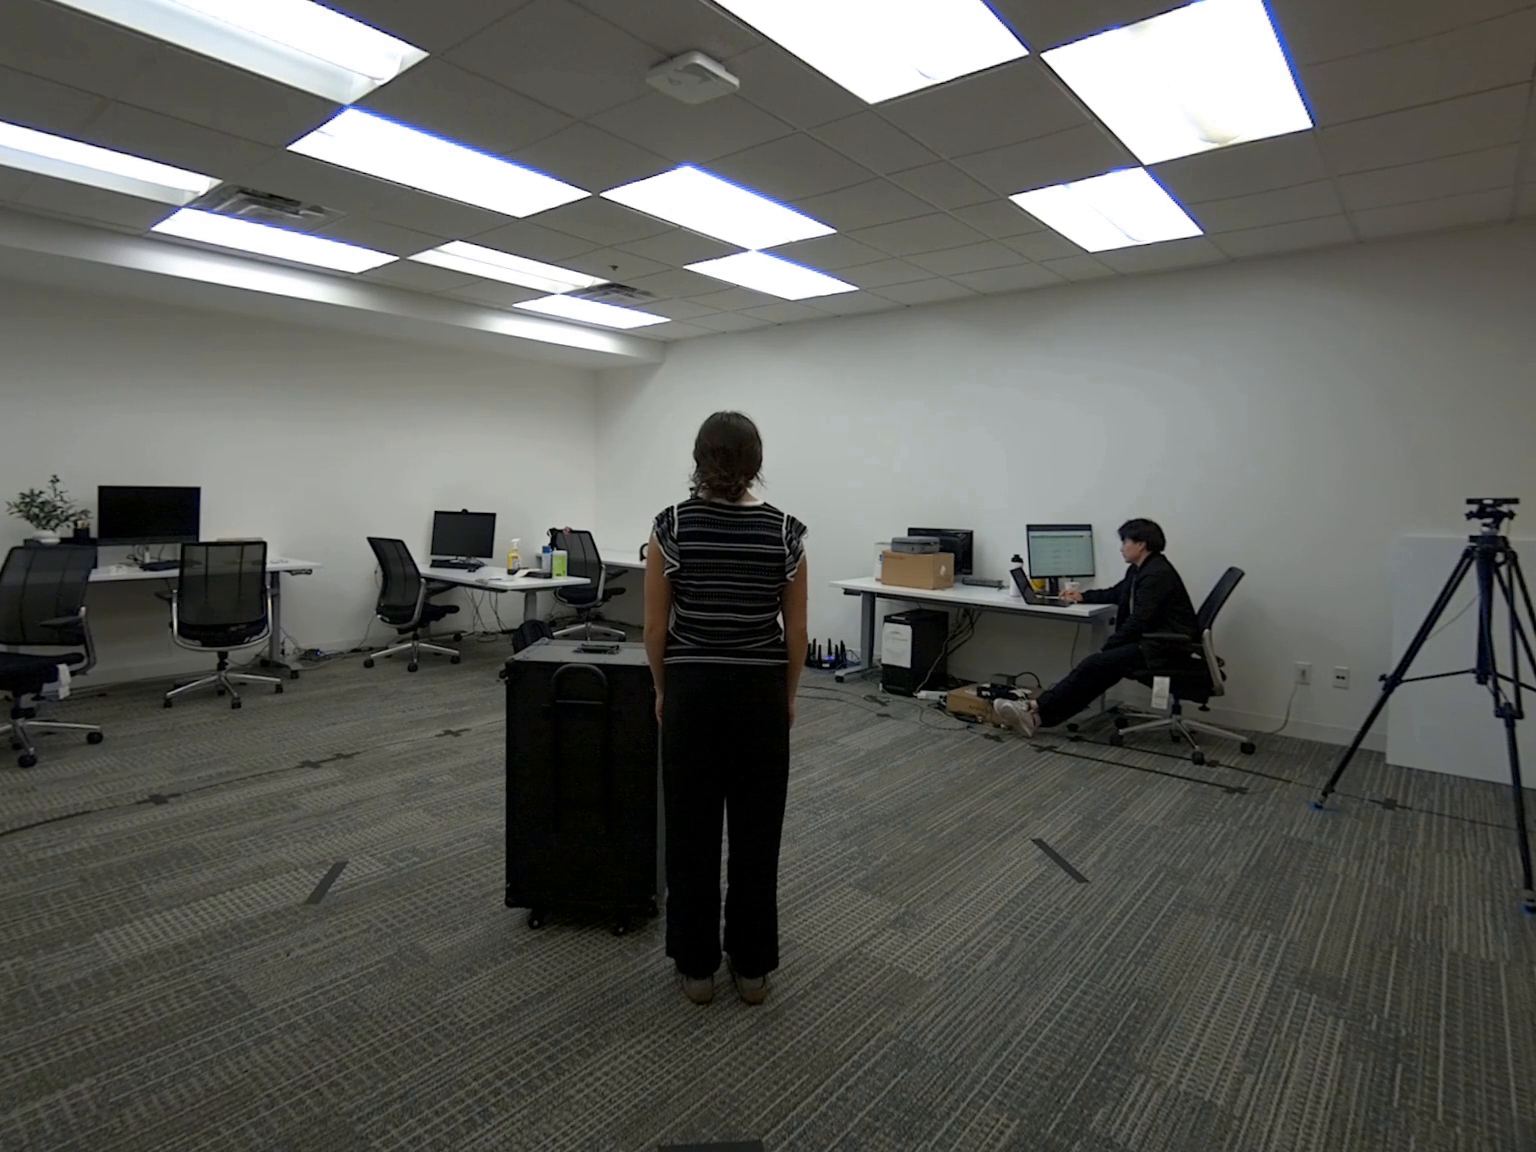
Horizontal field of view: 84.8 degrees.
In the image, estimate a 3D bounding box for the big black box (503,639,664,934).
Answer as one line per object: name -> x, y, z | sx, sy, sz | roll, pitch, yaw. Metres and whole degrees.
big black box -> -0.577, 0.667, 2.771 | 0.525, 0.859, 0.394 | 2, 3, 6
